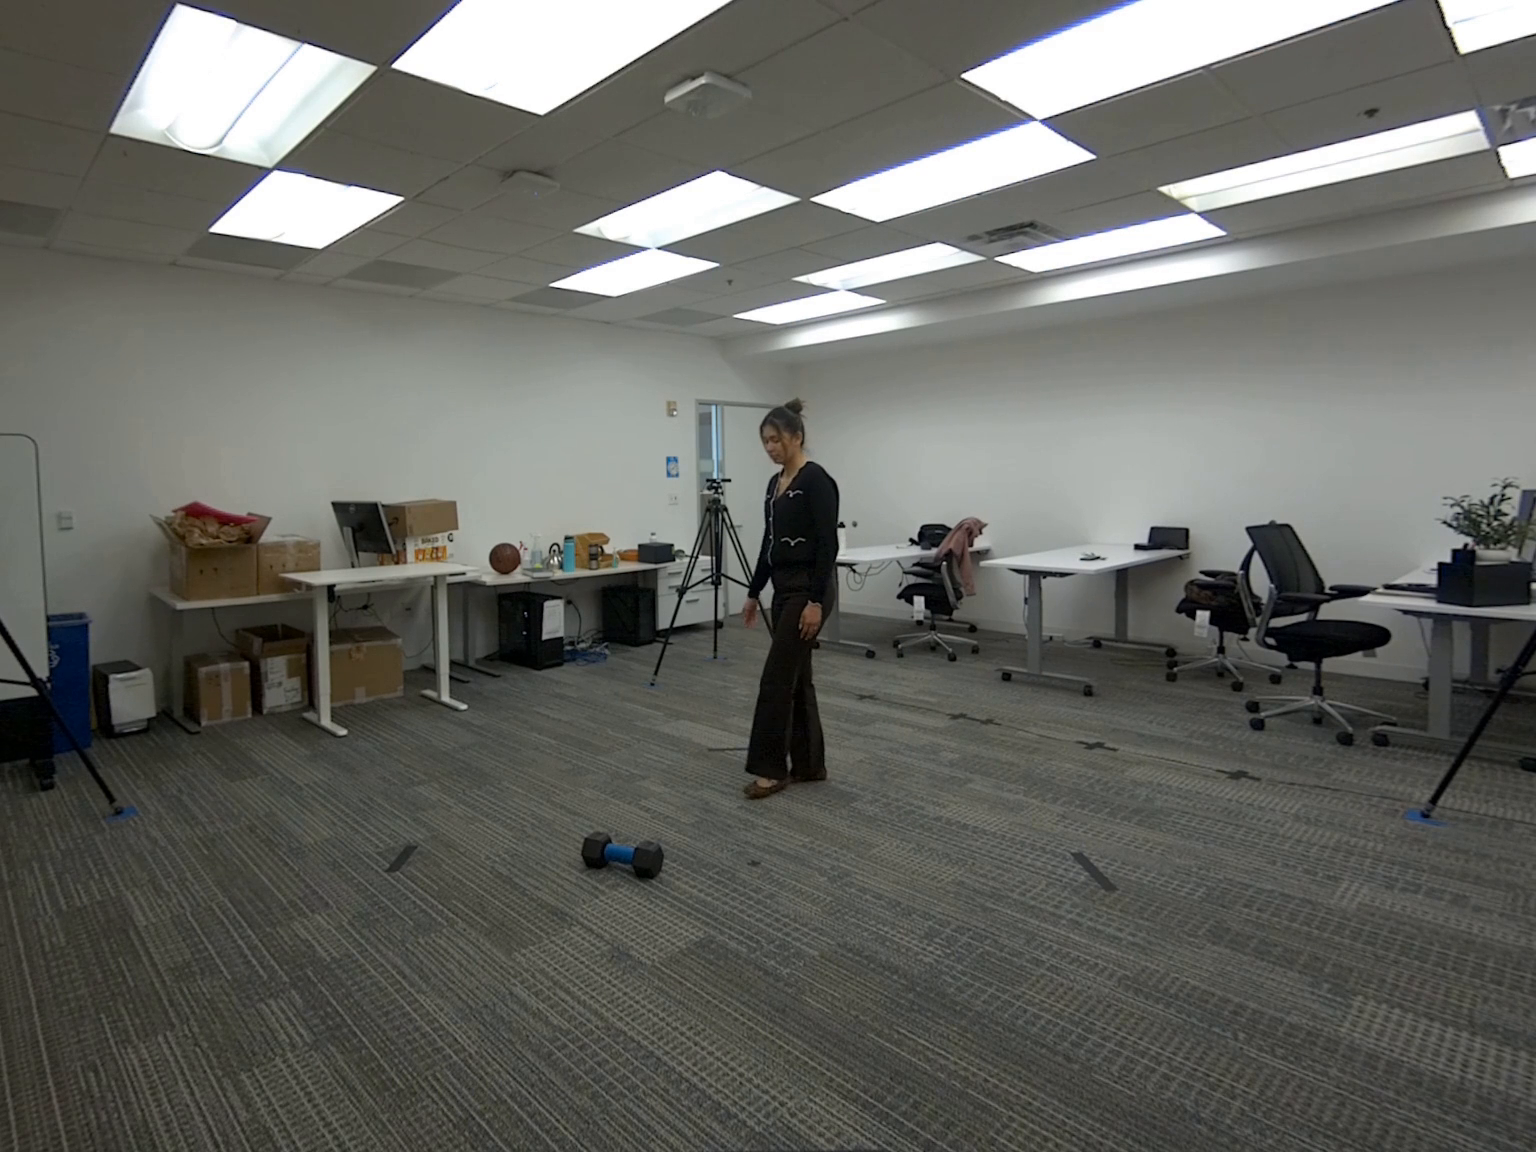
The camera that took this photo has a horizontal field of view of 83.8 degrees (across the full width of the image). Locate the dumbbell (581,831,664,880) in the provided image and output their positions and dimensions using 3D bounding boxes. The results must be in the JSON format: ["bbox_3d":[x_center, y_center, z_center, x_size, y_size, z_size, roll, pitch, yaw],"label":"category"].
[{"bbox_3d":[-0.521,0.999,3.073,0.300,0.108,0.120,2,4,24],"label":"dumbbell"}]
